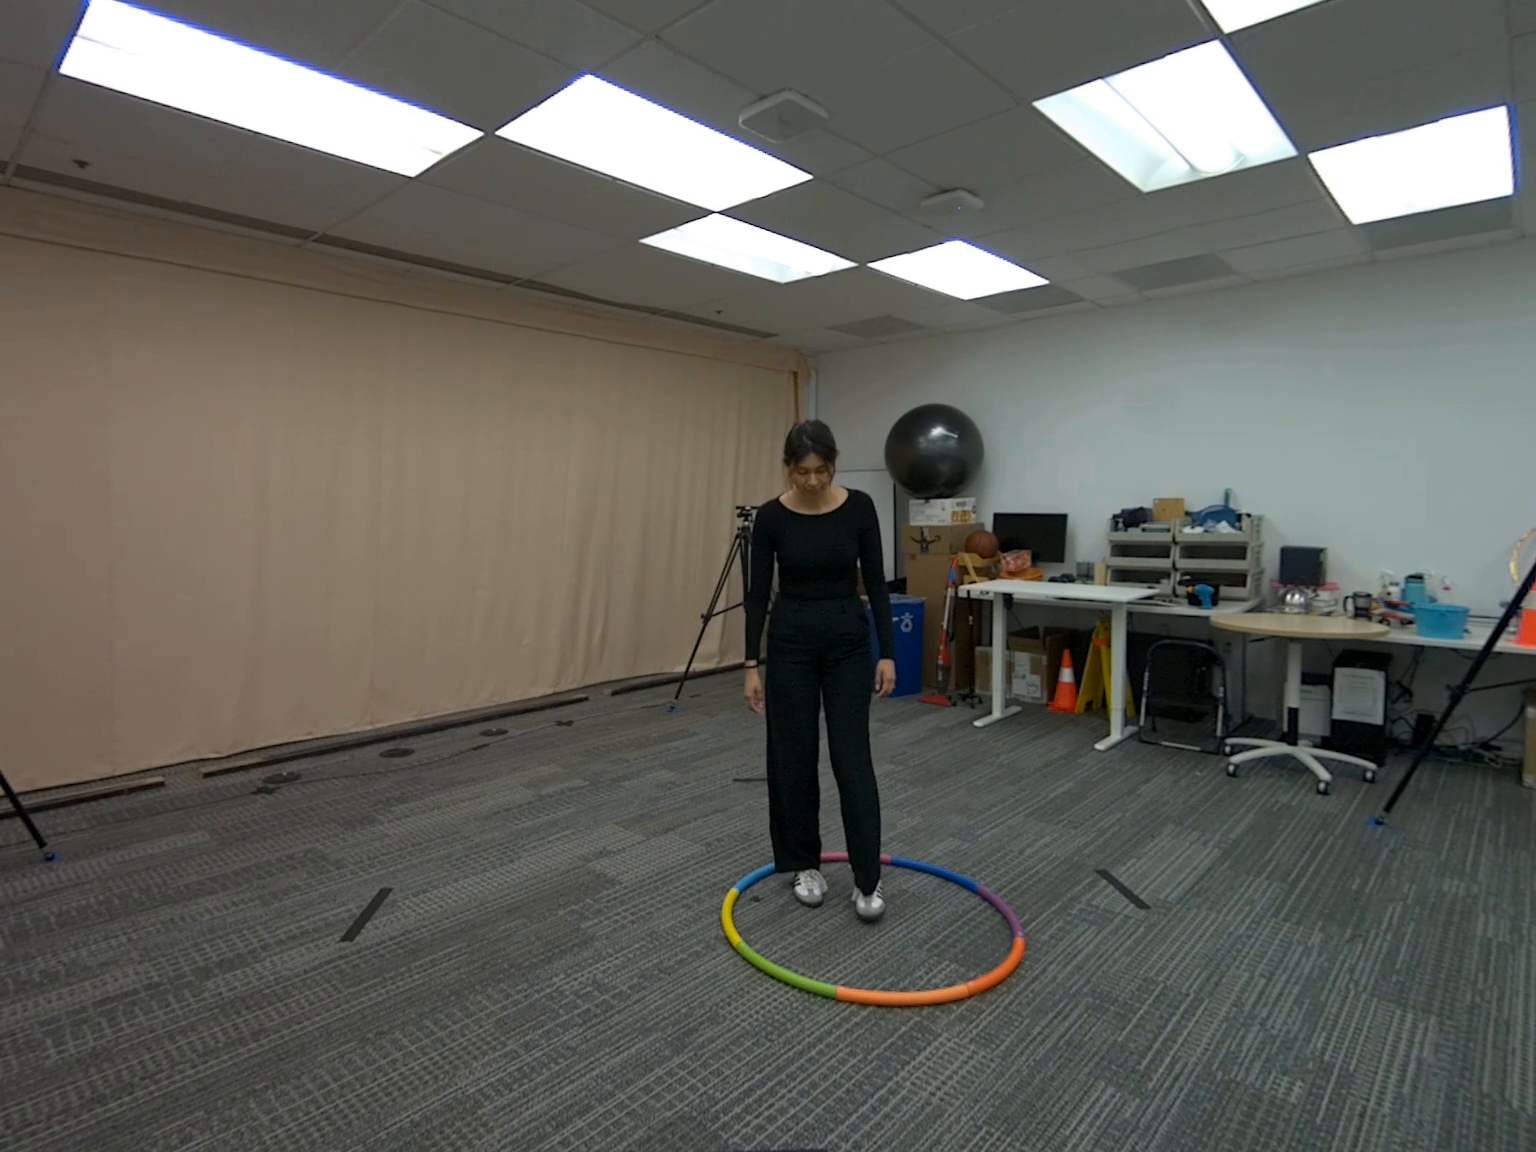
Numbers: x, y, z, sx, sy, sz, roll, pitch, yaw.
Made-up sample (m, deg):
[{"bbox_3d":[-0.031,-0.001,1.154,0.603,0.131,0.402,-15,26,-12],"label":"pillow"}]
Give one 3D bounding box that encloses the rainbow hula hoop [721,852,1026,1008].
[{"bbox_3d":[0.336,1.128,2.823,0.978,0.035,0.982,0,5,-2],"label":"rainbow hula hoop"}]
